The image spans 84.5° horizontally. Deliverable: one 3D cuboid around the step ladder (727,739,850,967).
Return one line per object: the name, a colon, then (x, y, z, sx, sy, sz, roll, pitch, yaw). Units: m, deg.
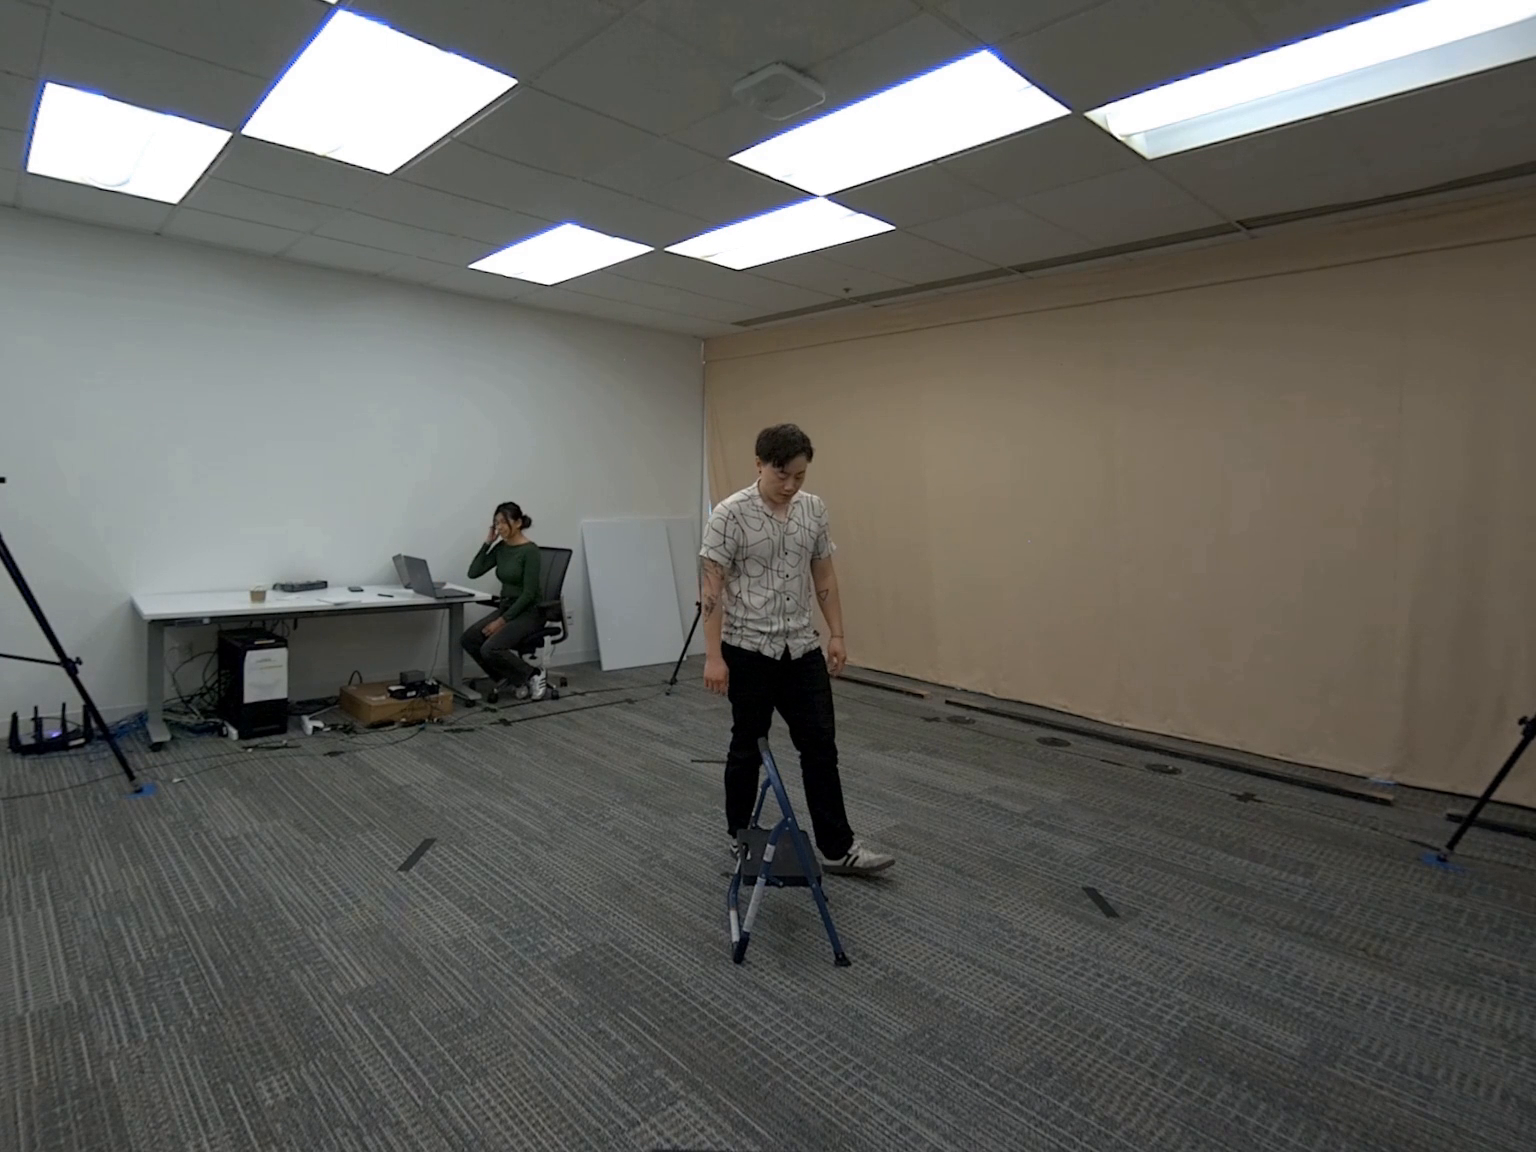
step ladder: (0.047, 0.846, 2.696, 0.348, 0.604, 0.433, 1, 4, -5)
